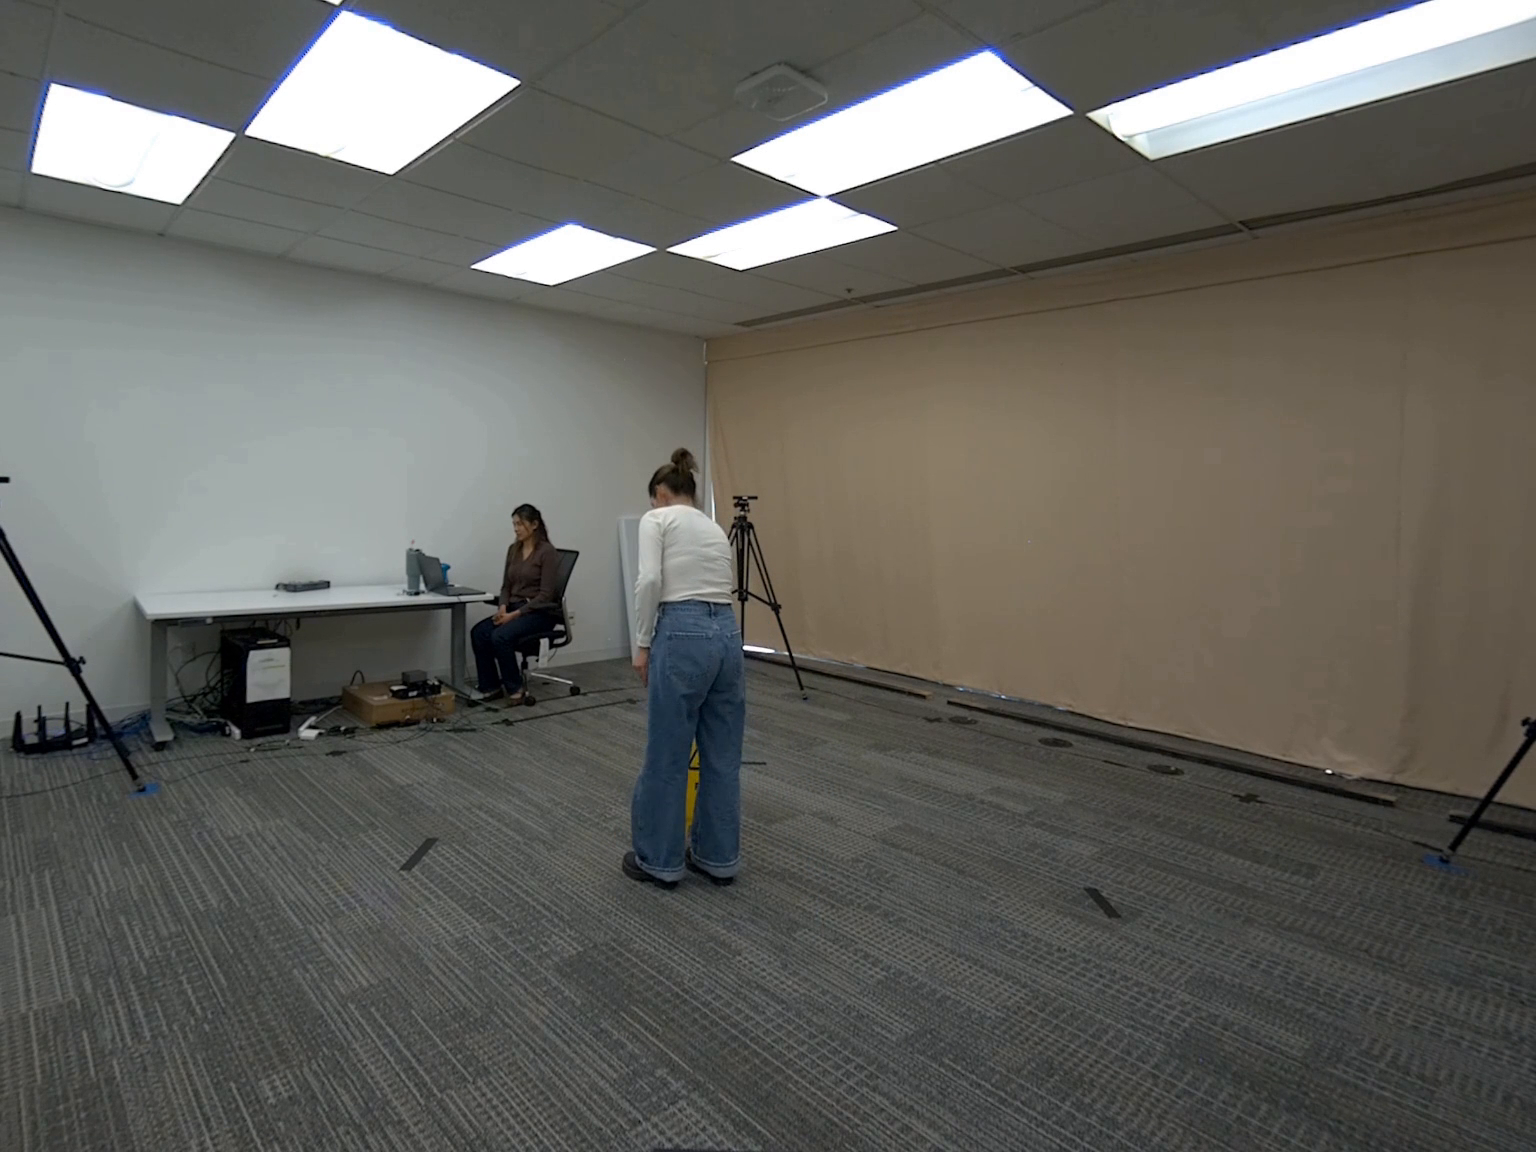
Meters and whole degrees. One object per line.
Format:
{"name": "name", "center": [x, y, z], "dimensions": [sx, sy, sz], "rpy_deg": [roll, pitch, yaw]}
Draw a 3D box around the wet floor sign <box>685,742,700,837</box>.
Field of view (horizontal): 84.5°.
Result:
{"name": "wet floor sign", "center": [-0.307, 0.733, 3.435], "dimensions": [0.274, 0.648, 0.297], "rpy_deg": [14, -6, -39]}
